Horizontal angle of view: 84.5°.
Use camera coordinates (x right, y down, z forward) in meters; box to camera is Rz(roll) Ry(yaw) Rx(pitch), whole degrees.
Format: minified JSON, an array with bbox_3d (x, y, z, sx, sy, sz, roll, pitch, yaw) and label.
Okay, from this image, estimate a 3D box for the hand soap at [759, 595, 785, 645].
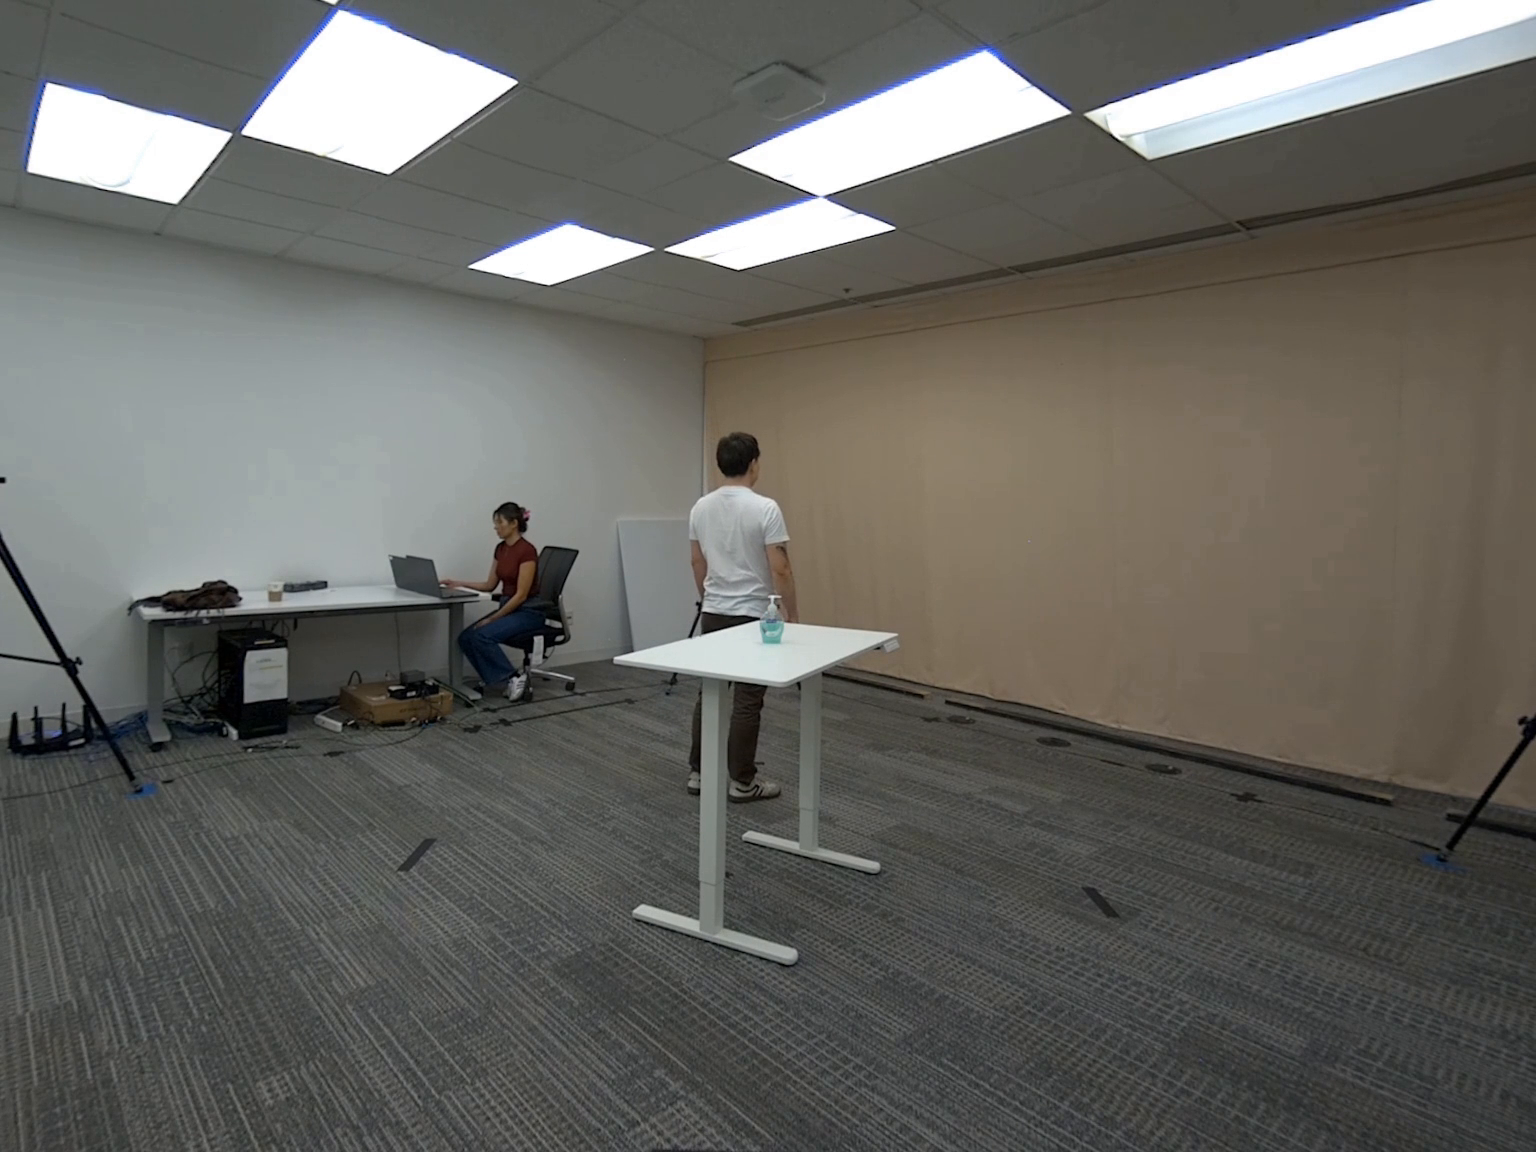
[{"bbox_3d":[0.013,0.156,2.964,0.084,0.168,0.043,5,1,-2],"label":"hand soap"}]
